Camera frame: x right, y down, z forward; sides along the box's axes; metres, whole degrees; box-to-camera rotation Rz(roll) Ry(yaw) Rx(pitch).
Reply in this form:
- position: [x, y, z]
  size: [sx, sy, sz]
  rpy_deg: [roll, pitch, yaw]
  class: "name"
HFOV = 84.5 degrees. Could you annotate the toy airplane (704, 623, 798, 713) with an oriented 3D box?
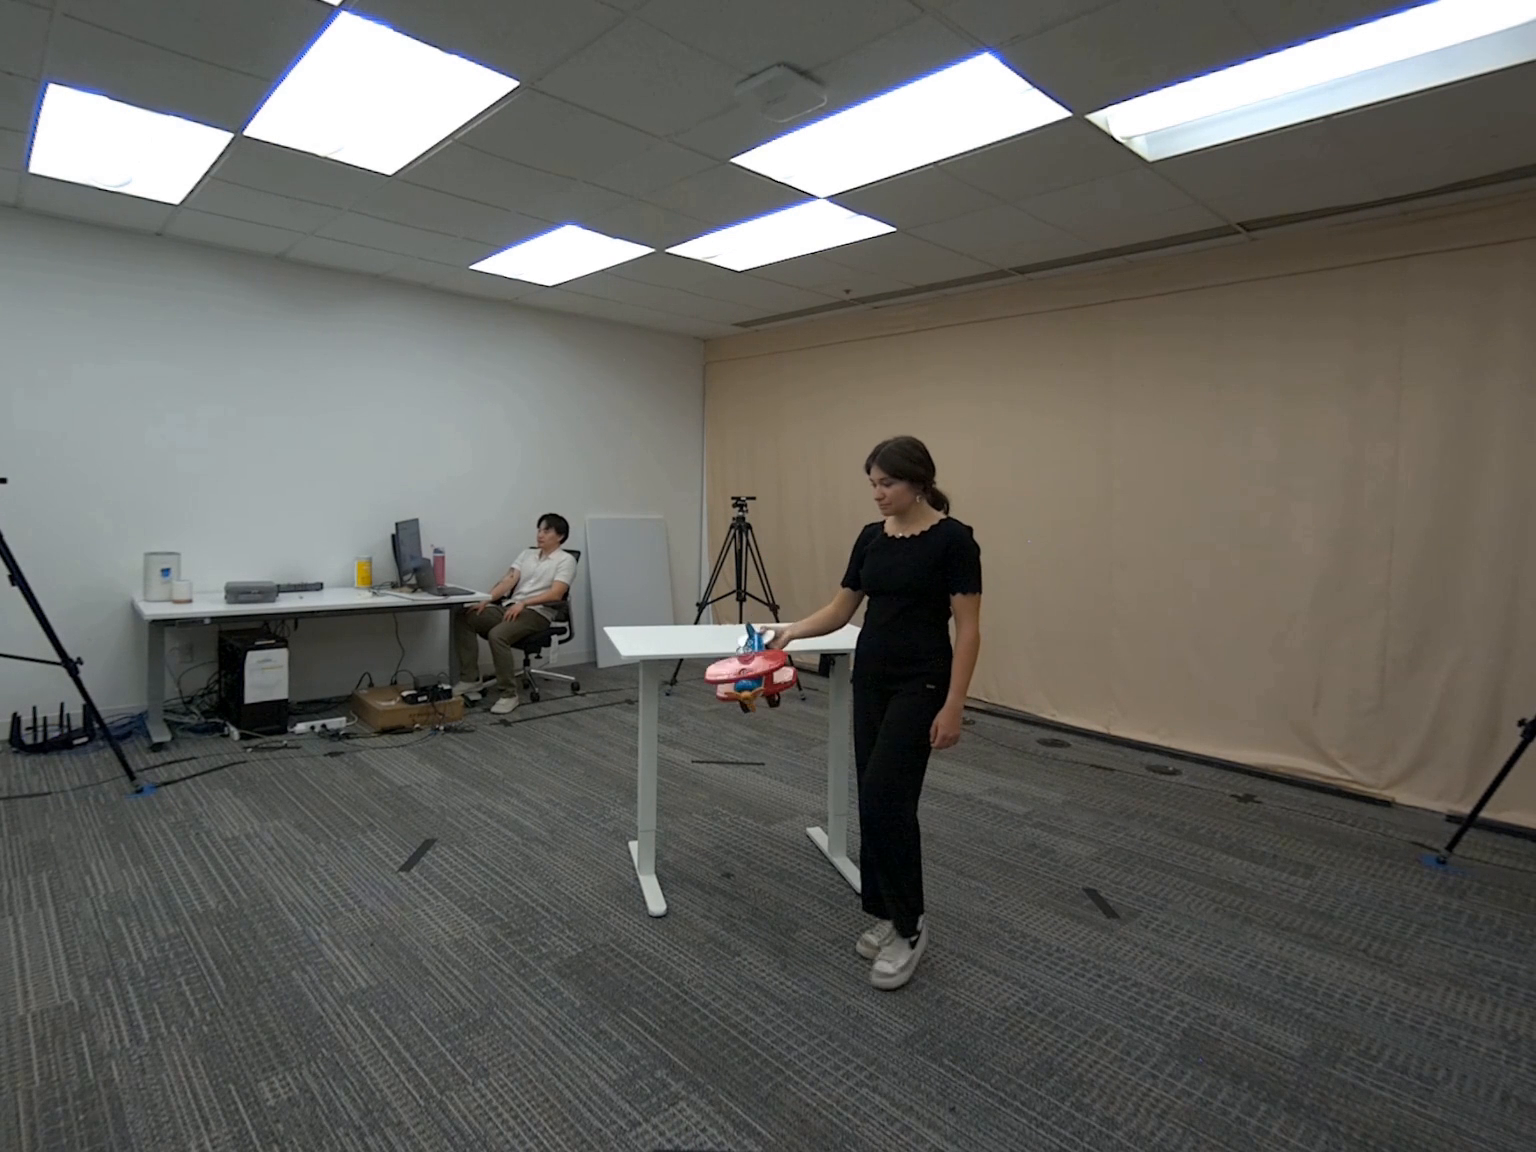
- position: [-0.068, 0.255, 2.467]
  size: [0.267, 0.251, 0.151]
  rpy_deg: [55, 0, 42]
  class: "toy airplane"
